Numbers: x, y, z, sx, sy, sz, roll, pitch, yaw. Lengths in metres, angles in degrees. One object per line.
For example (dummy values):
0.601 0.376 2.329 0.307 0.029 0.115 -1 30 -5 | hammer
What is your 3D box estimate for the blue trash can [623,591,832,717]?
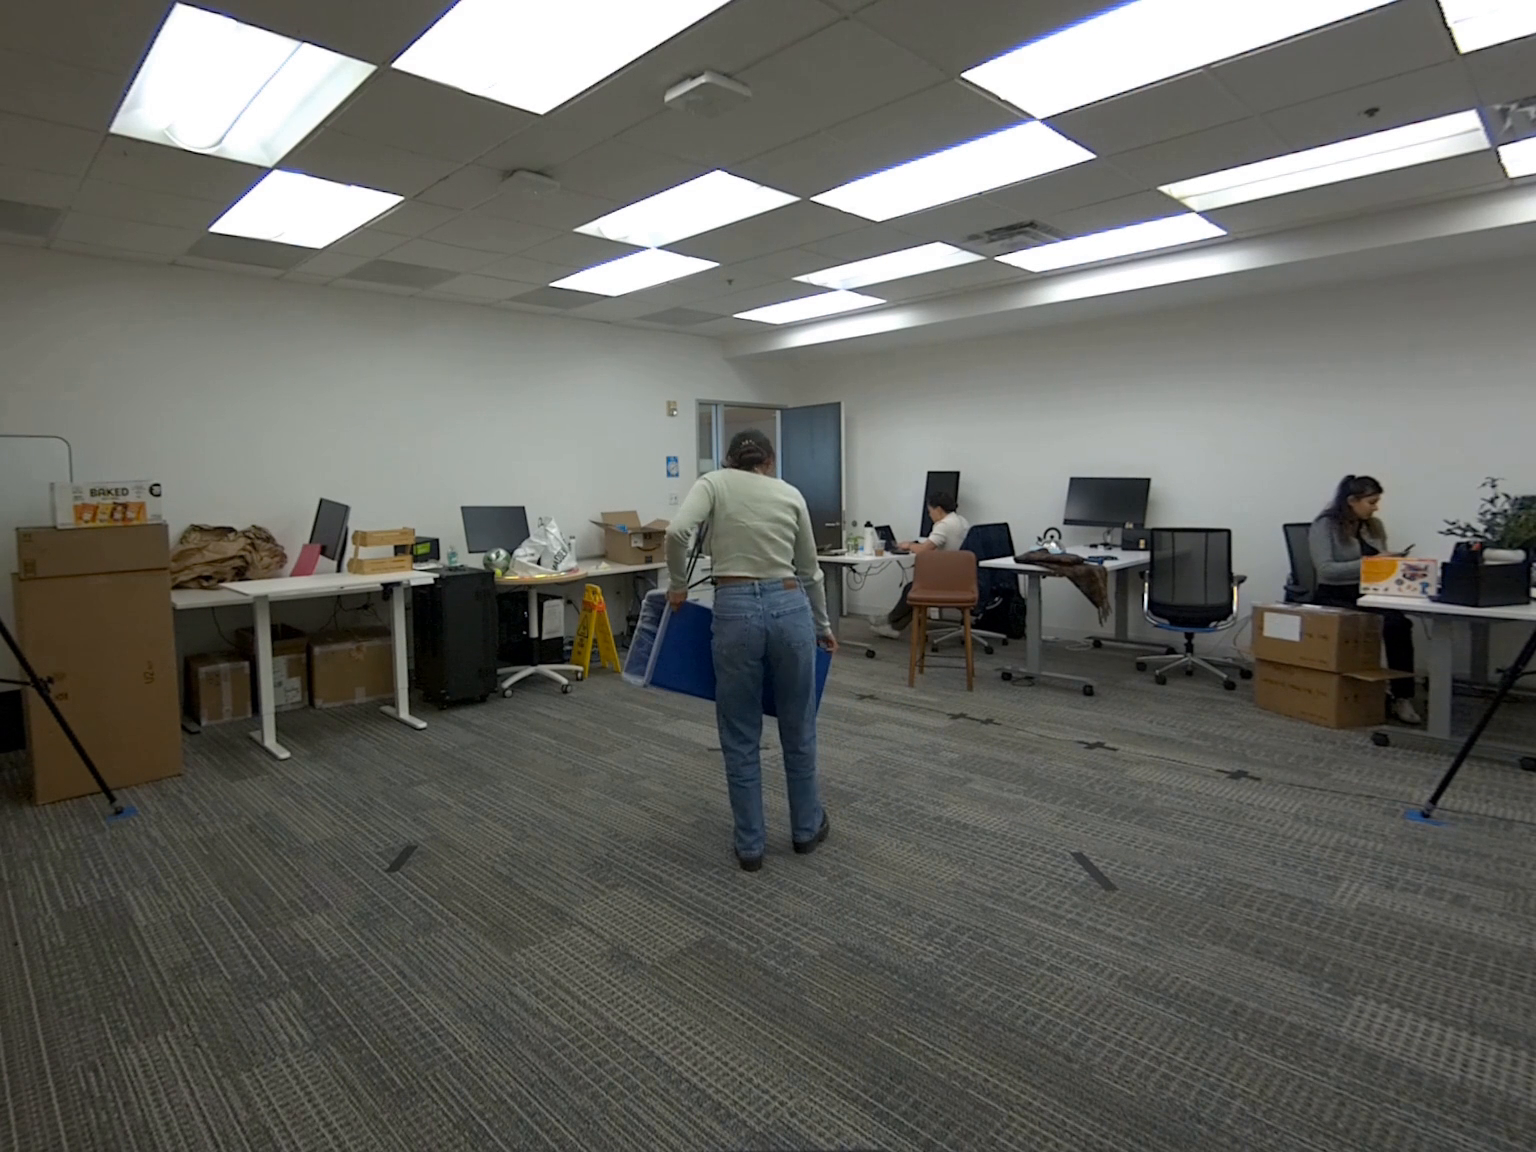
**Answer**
-0.156 0.327 3.368 0.699 0.380 0.380 19 -9 -18 | blue trash can
